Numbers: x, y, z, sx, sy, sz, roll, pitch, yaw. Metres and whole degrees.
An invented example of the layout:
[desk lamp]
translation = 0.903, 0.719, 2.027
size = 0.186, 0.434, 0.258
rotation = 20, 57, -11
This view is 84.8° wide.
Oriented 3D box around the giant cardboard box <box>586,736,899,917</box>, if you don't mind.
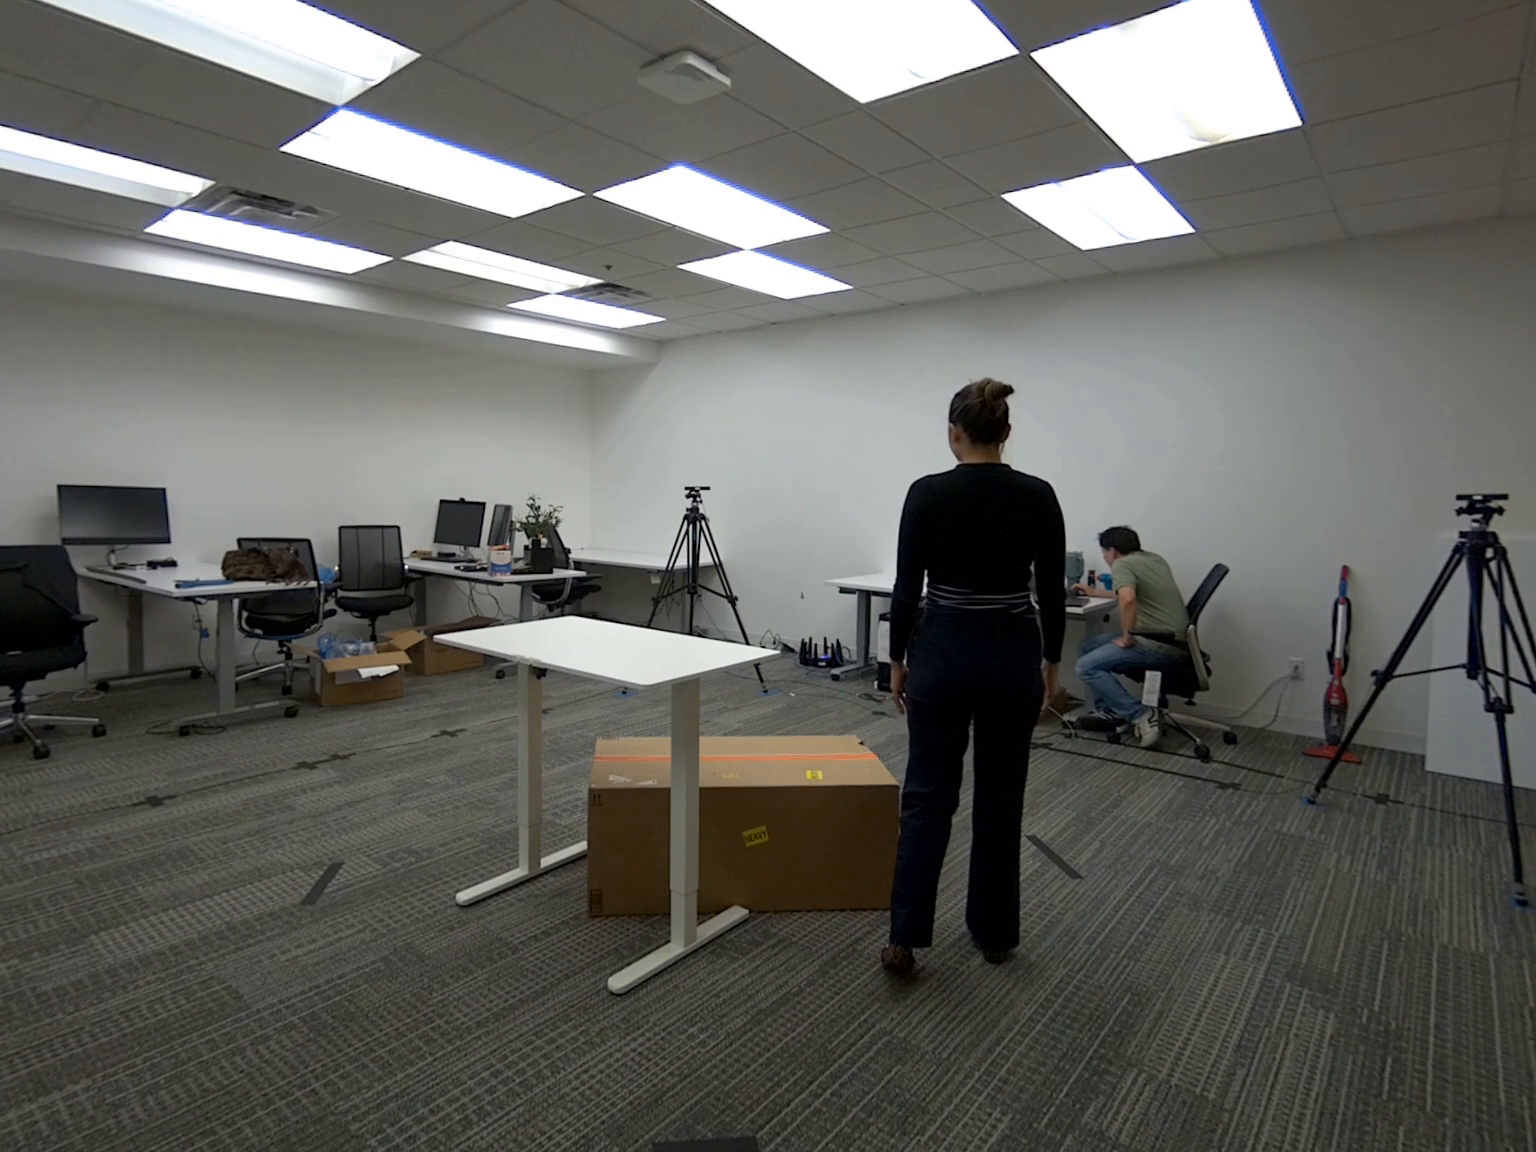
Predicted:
[giant cardboard box]
translation = -0.124, 0.855, 3.054
size = 1.020, 0.424, 0.584
rotation = 0, 5, -6
